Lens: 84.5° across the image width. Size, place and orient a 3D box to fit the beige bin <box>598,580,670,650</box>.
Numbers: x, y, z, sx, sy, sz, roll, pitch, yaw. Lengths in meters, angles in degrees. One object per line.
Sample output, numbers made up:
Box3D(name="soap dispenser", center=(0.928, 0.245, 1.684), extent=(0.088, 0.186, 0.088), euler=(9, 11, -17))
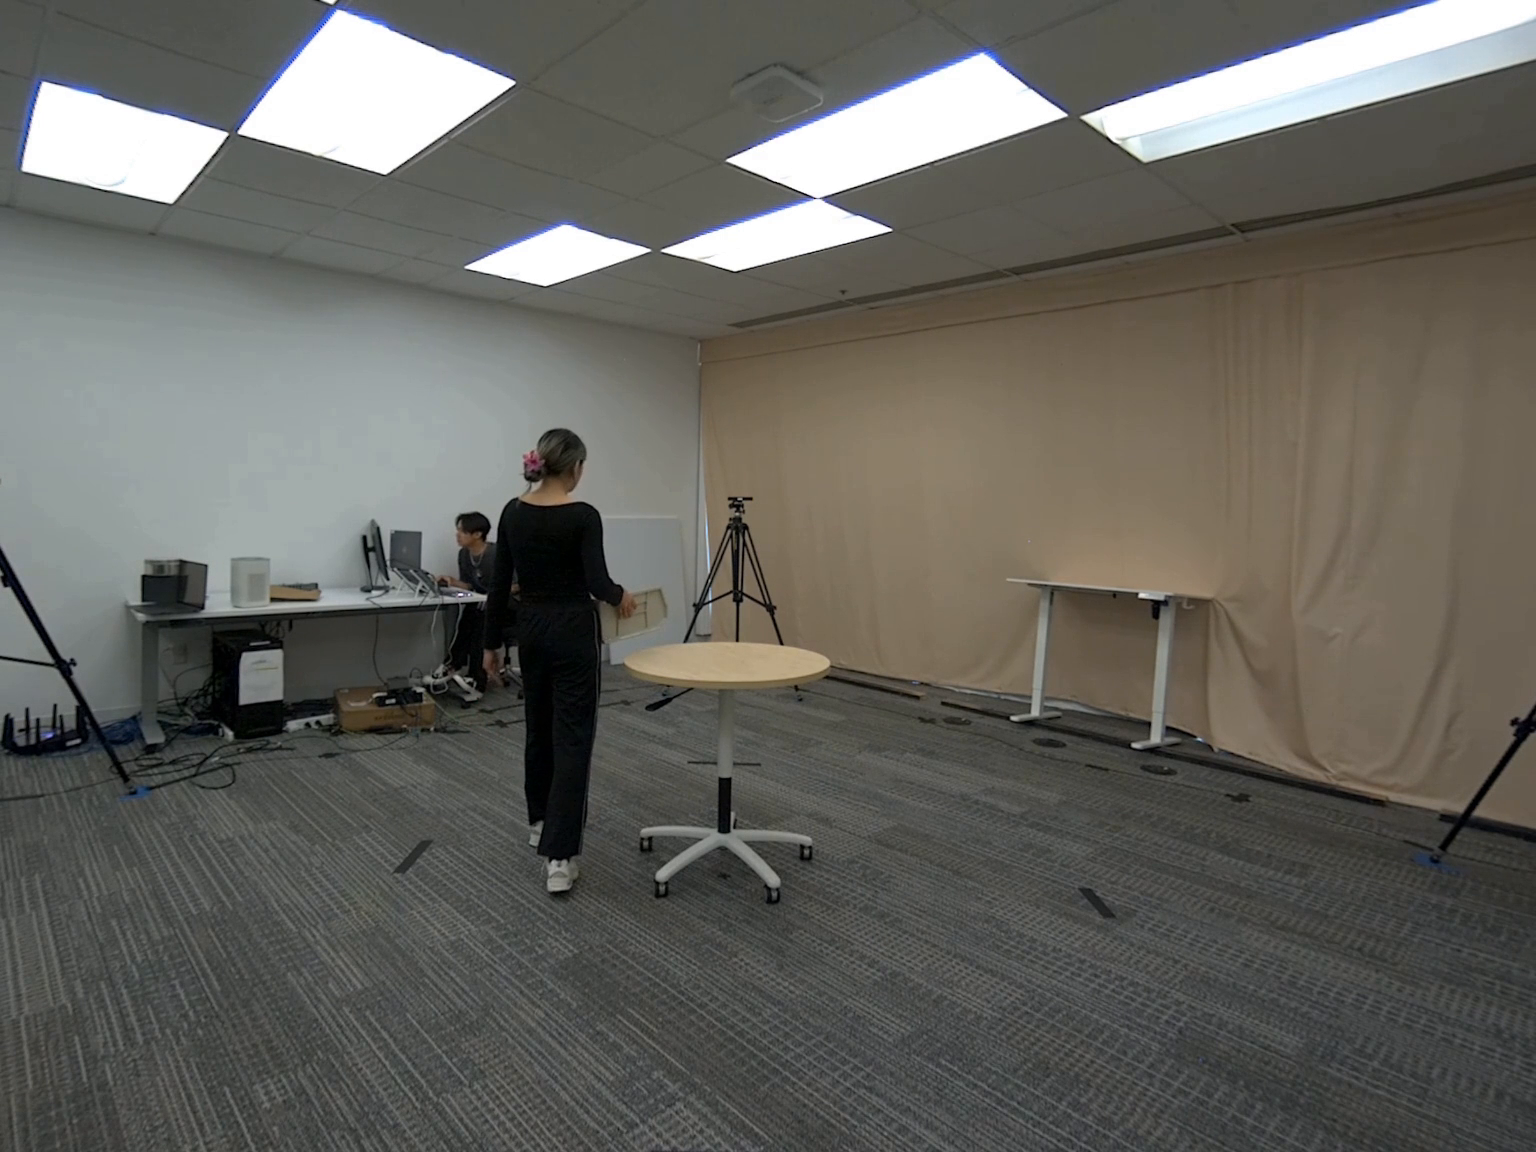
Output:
Box3D(name="beige bin", center=(-0.698, 0.146, 3.486), extent=(0.432, 0.188, 0.370), euler=(4, 10, 37))
